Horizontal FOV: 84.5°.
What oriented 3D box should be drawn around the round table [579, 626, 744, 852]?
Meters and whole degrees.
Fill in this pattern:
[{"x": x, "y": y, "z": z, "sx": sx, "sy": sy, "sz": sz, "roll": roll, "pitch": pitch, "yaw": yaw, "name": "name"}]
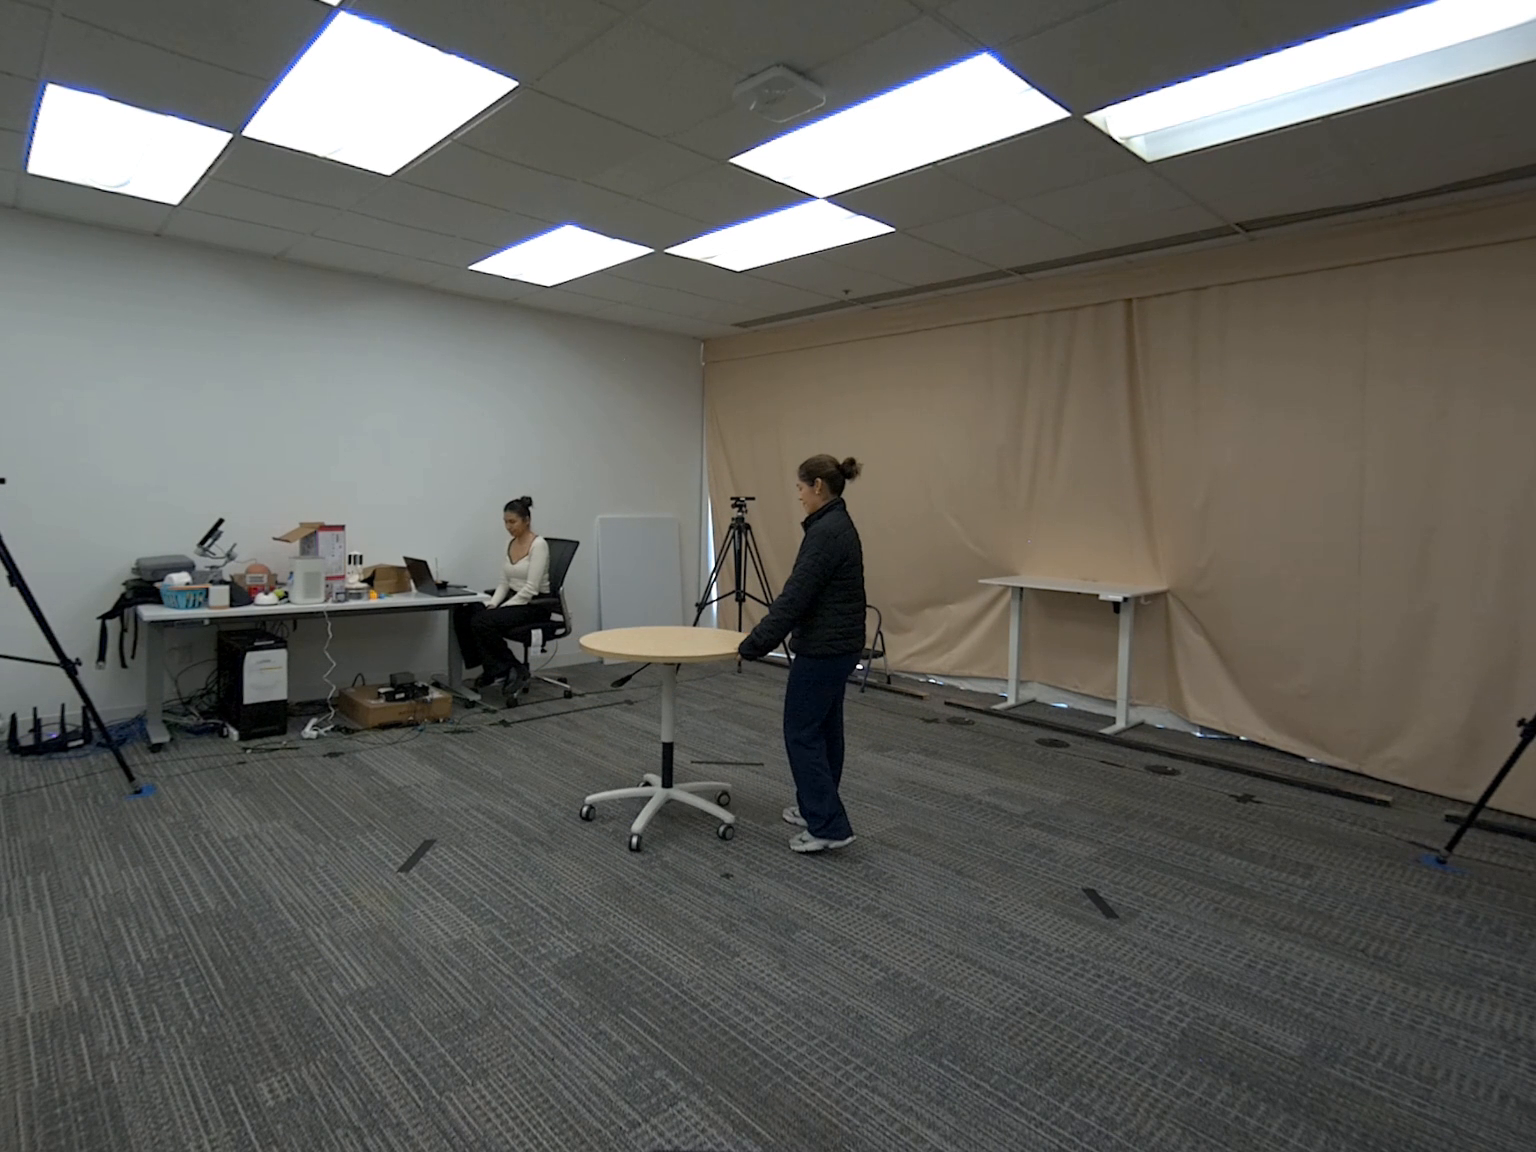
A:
[{"x": -0.428, "y": 0.661, "z": 3.600, "sx": 0.784, "sy": 0.785, "sz": 0.787, "roll": 1, "pitch": 4, "yaw": -1, "name": "round table"}]
